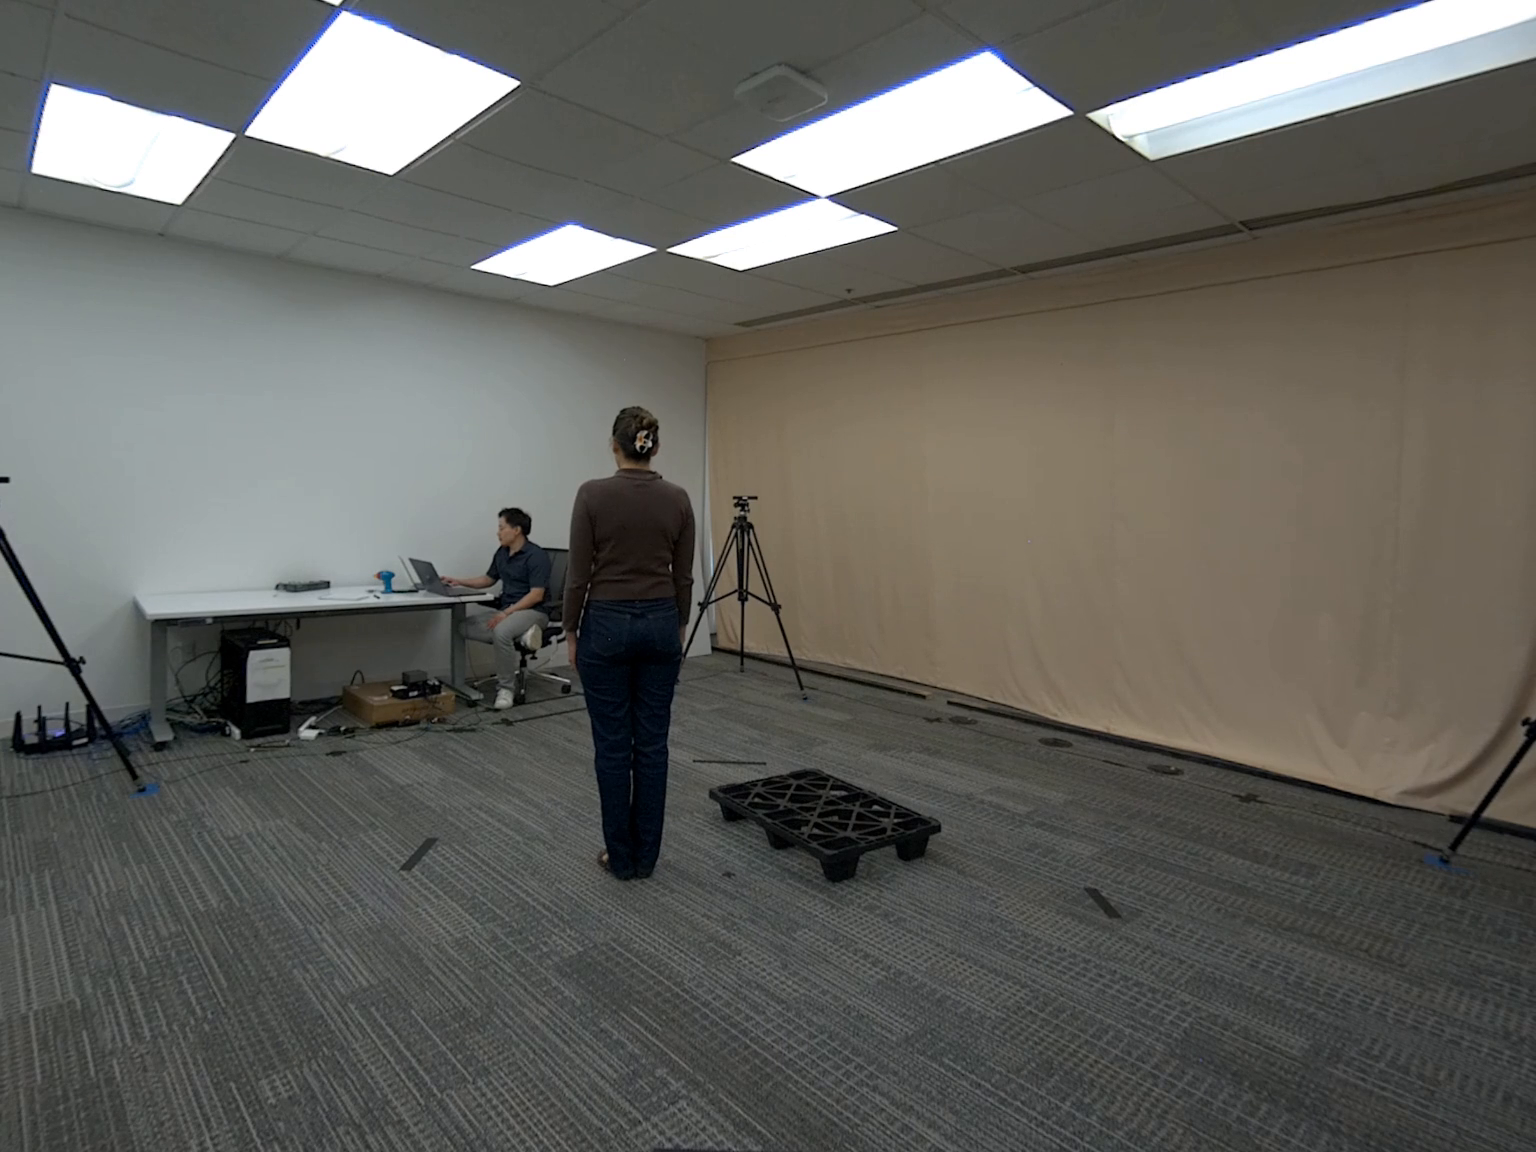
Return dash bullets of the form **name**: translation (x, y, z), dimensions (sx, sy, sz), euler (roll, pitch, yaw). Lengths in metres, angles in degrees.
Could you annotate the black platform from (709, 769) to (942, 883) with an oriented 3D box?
- **black platform**: translation (0.205, 1.012, 3.475), dimensions (0.592, 0.143, 0.825), euler (-3, 6, -35)
